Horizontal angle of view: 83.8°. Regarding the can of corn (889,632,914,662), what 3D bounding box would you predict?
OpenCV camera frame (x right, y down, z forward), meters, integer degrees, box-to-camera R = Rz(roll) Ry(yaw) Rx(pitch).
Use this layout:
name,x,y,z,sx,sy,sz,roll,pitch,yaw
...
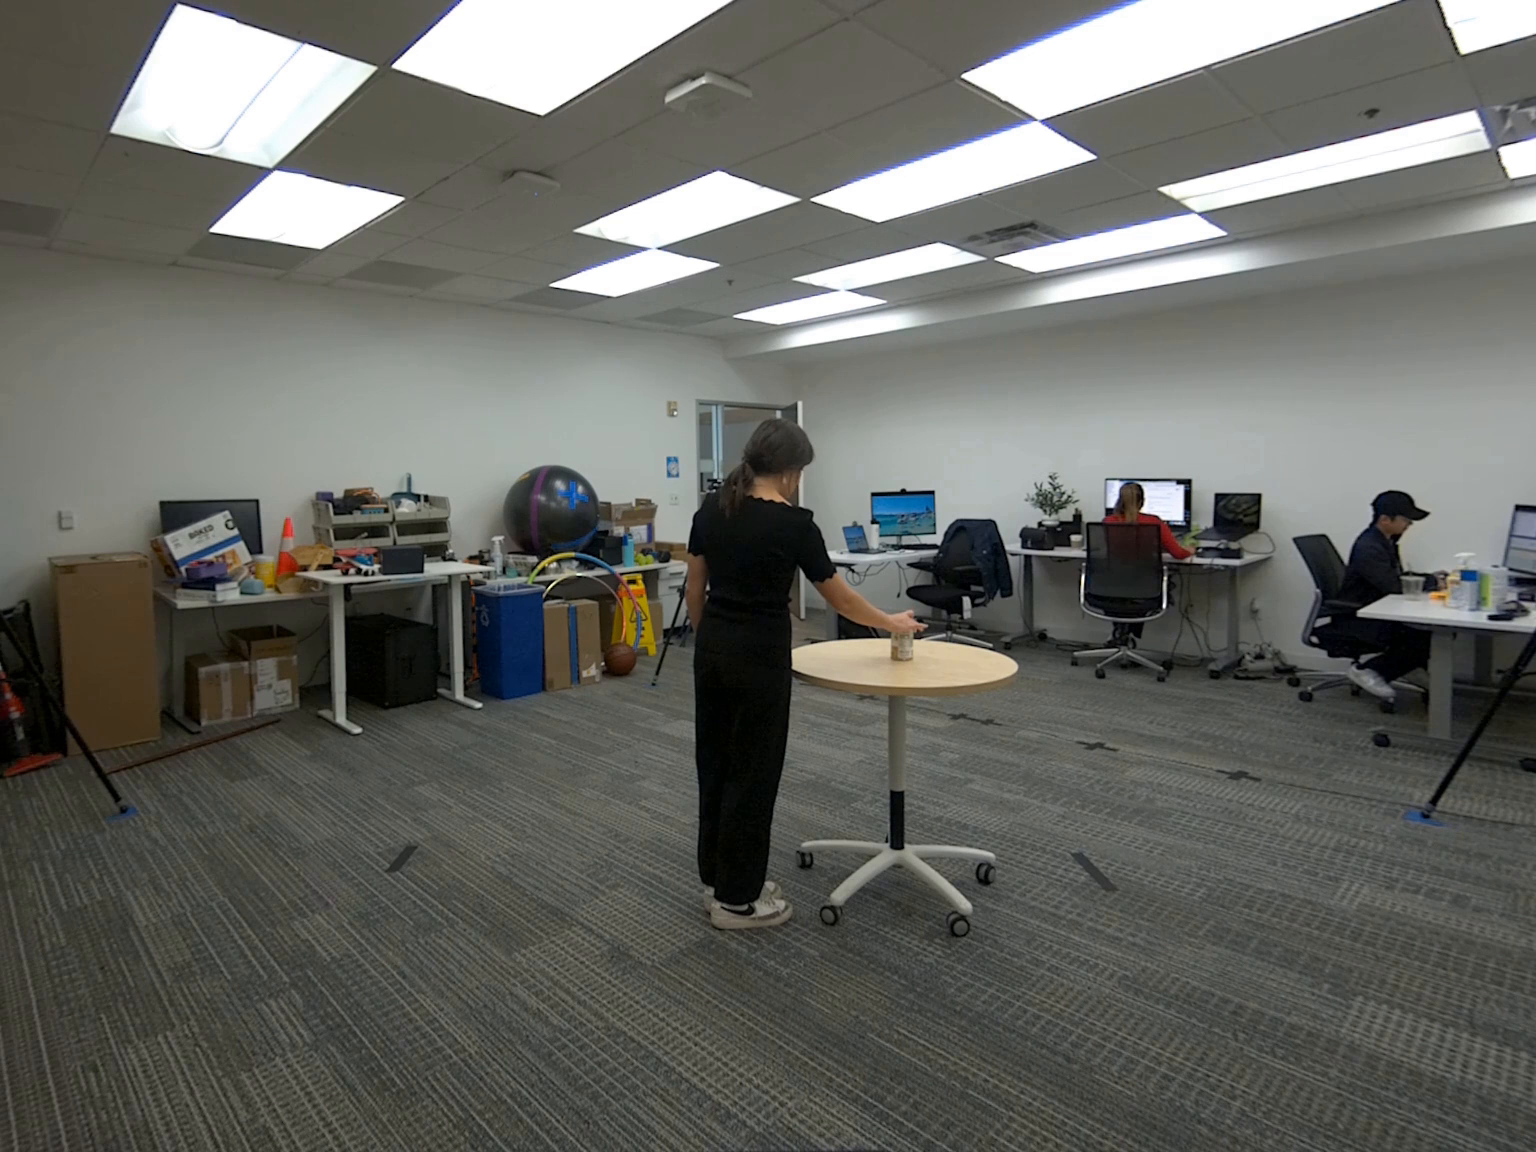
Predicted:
name,x,y,z,sx,sy,sz,roll,pitch,yaw
can of corn,0.459,0.224,2.868,0.074,0.110,0.075,-1,8,-2
